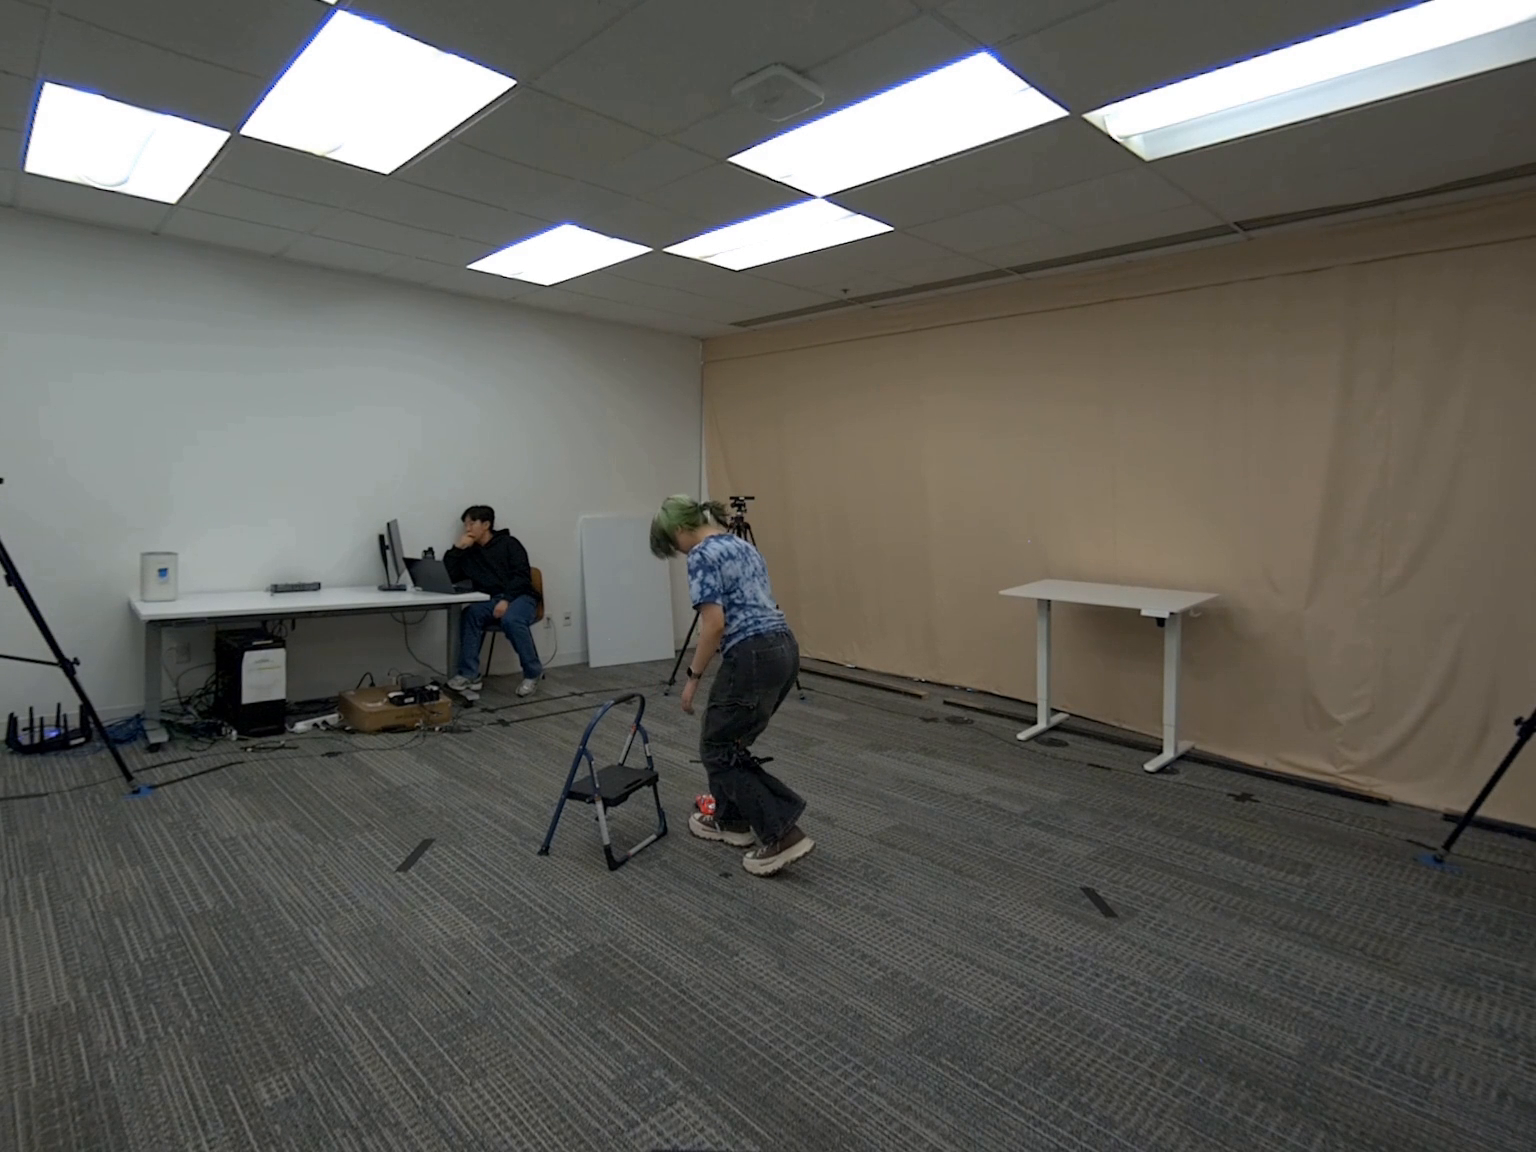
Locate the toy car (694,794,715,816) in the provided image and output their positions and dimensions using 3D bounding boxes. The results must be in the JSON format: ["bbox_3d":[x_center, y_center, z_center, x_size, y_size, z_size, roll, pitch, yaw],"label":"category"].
[{"bbox_3d":[-0.259,1.020,3.706,0.129,0.083,0.255,0,-5,-12],"label":"toy car"}]
